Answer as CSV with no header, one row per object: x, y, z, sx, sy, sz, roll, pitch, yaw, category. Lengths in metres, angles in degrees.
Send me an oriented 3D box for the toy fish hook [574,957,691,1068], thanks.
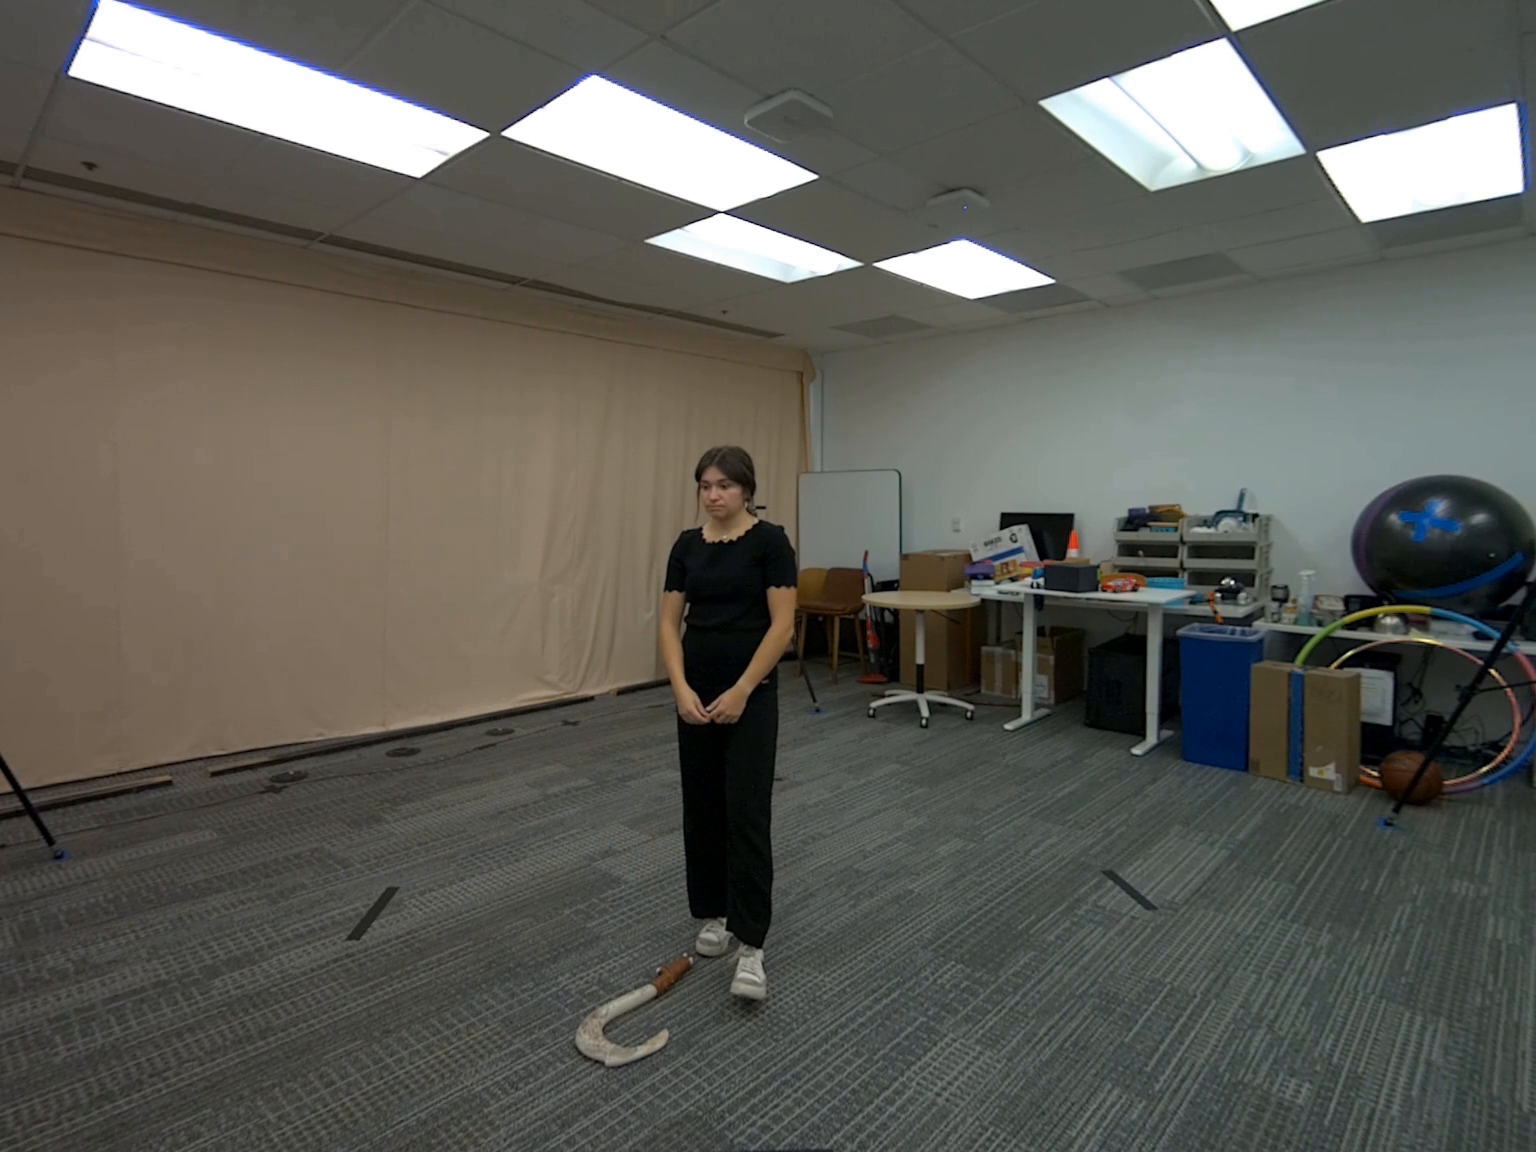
-0.306,1.185,2.314,0.231,0.048,0.493,10,10,28,toy fish hook
